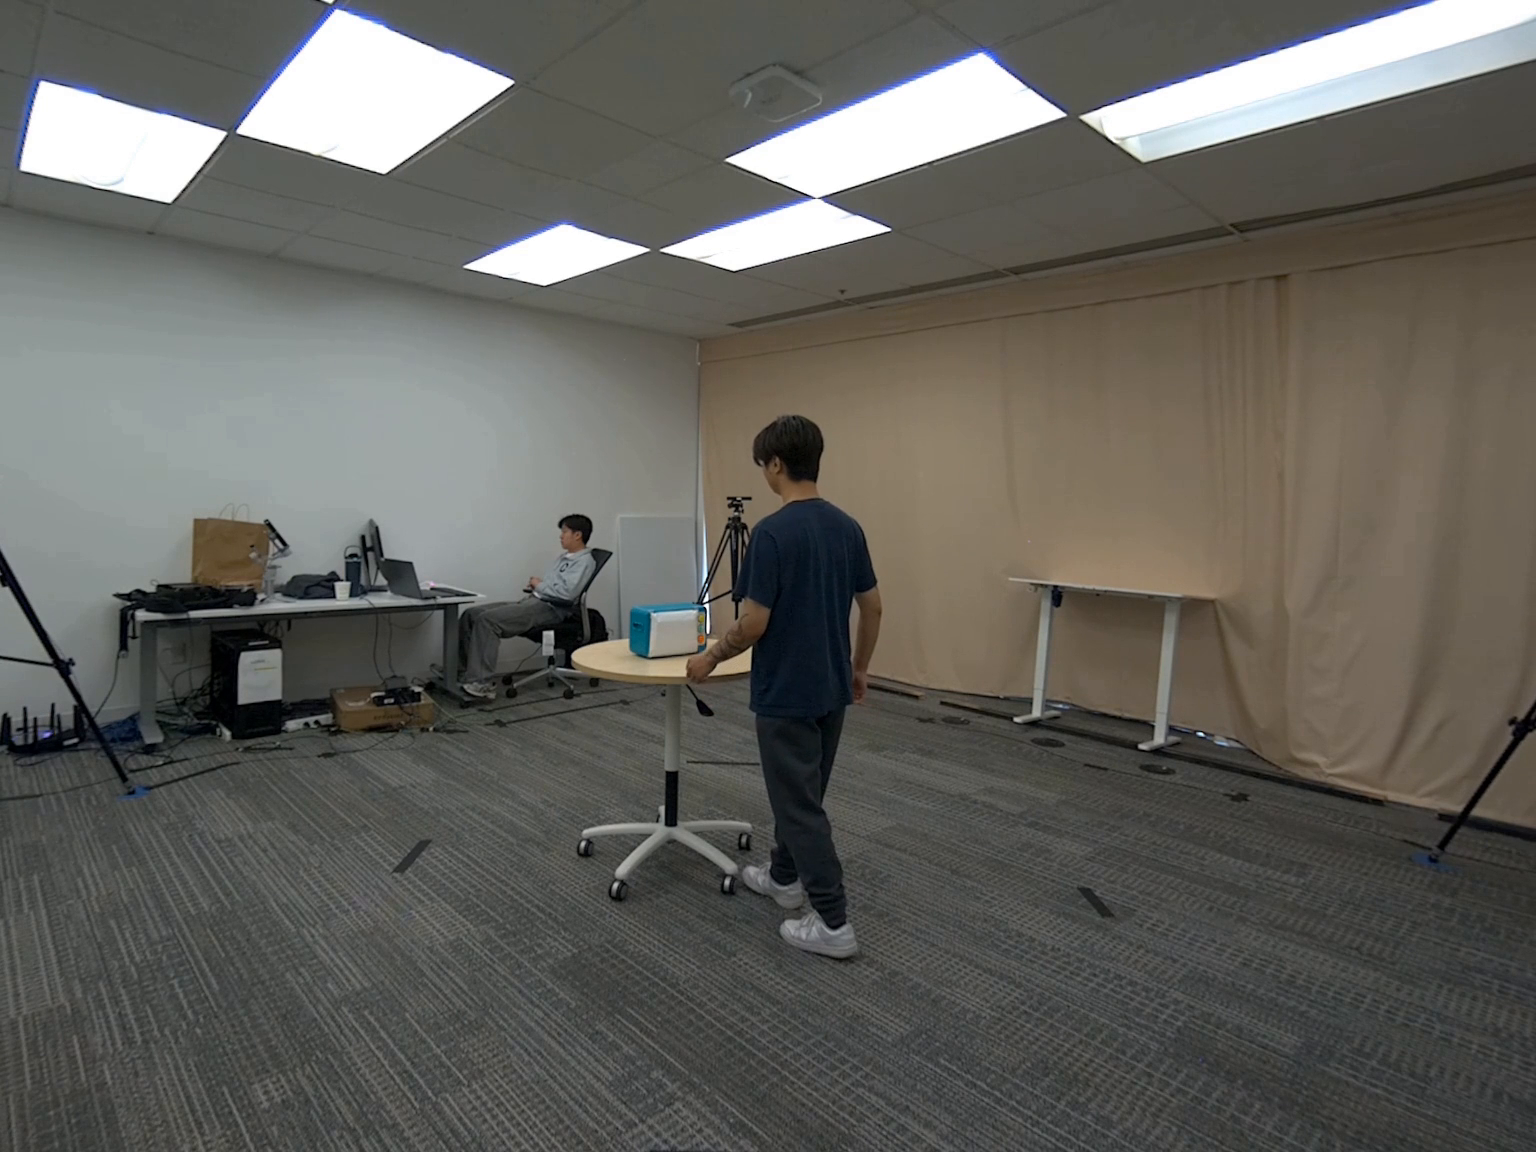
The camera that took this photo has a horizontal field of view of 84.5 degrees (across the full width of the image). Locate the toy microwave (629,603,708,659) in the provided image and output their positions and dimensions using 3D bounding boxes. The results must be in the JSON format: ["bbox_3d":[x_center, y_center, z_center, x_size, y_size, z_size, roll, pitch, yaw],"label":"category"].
[{"bbox_3d":[-0.375,0.205,3.179,0.280,0.183,0.156,-2,6,-38],"label":"toy microwave"}]
